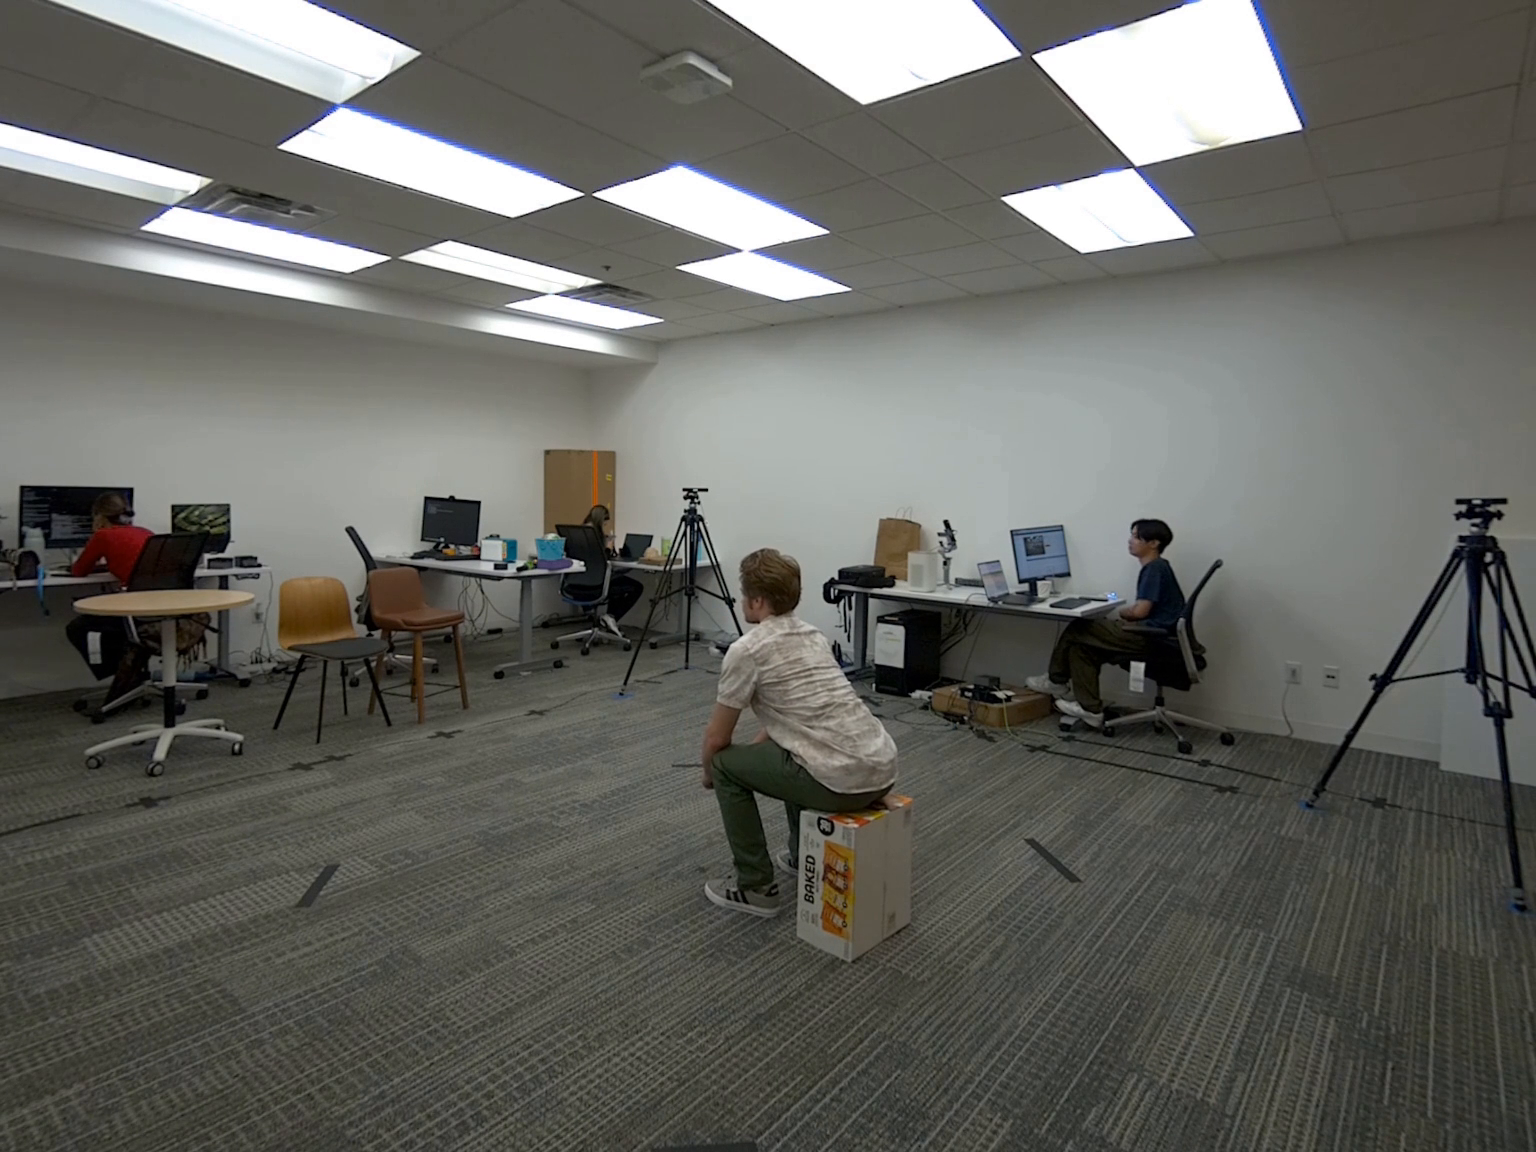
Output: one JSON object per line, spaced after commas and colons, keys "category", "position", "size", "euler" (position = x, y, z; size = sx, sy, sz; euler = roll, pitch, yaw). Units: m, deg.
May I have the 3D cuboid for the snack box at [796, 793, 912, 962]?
{"category": "snack box", "position": [0.278, 0.921, 2.690], "size": [0.212, 0.404, 0.330], "euler": [3, 3, 42]}
